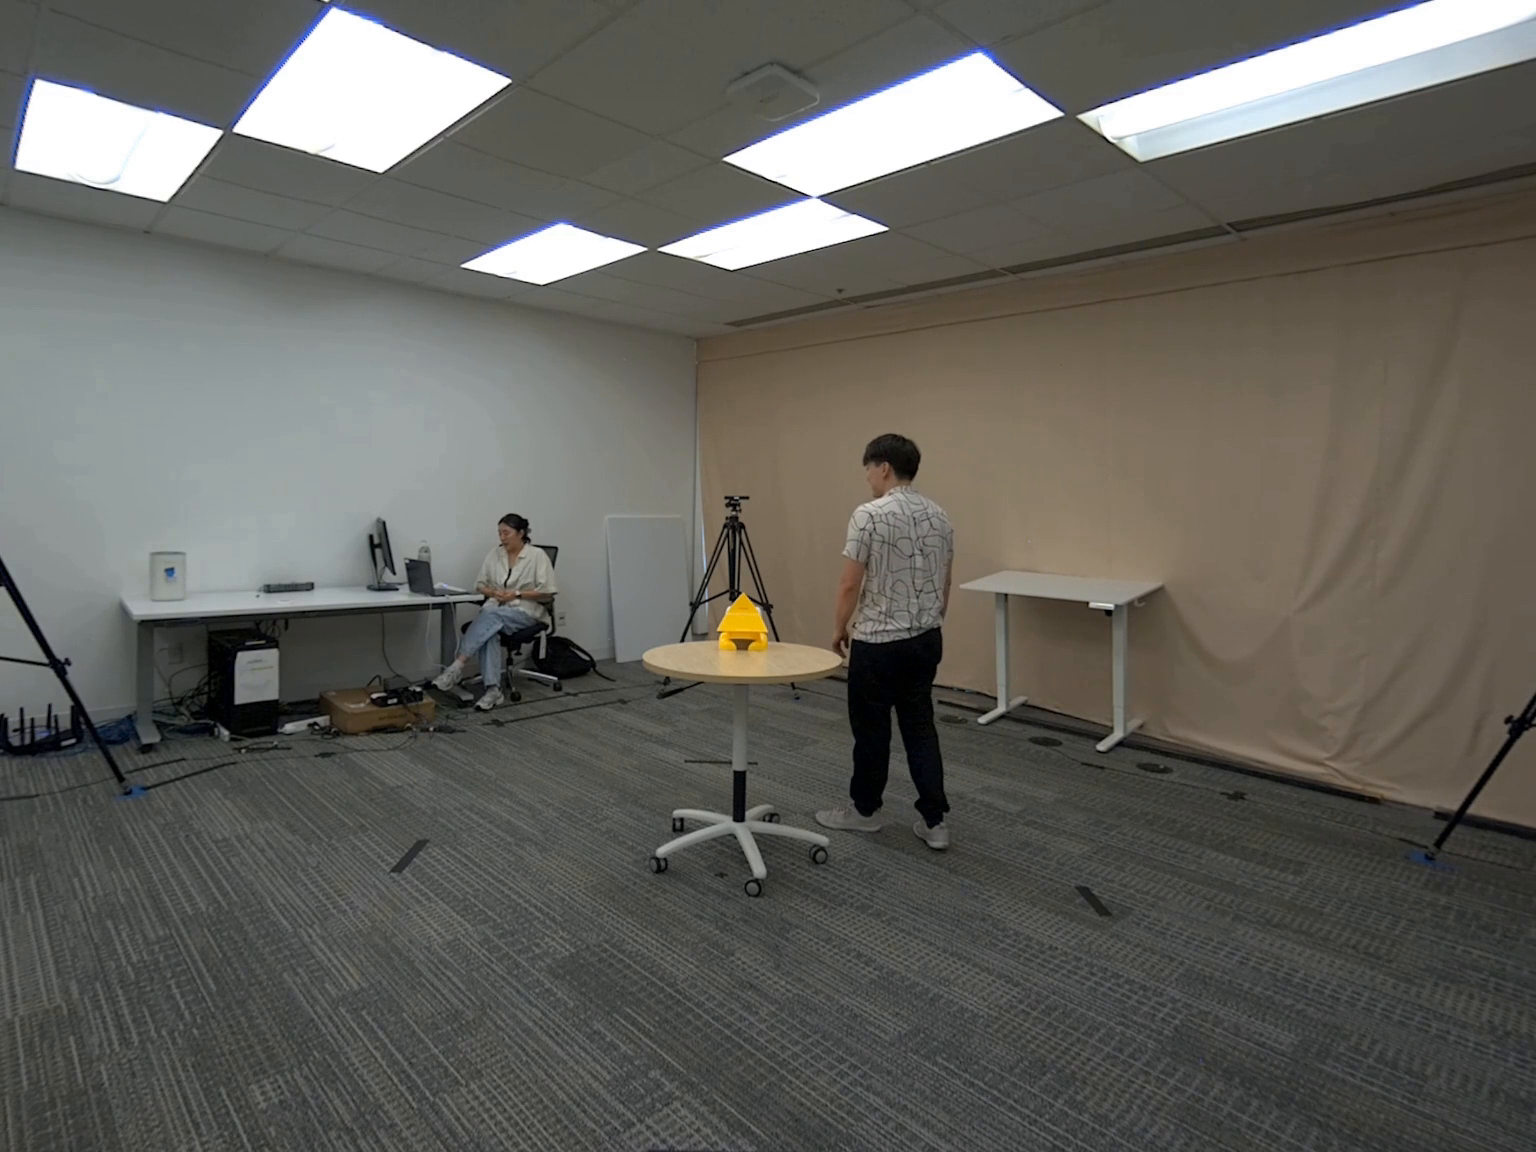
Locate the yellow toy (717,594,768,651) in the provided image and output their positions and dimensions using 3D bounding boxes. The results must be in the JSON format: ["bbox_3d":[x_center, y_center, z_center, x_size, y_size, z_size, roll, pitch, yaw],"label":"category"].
[{"bbox_3d":[-0.107,0.177,3.442,0.205,0.230,0.193,2,6,2],"label":"yellow toy"}]
